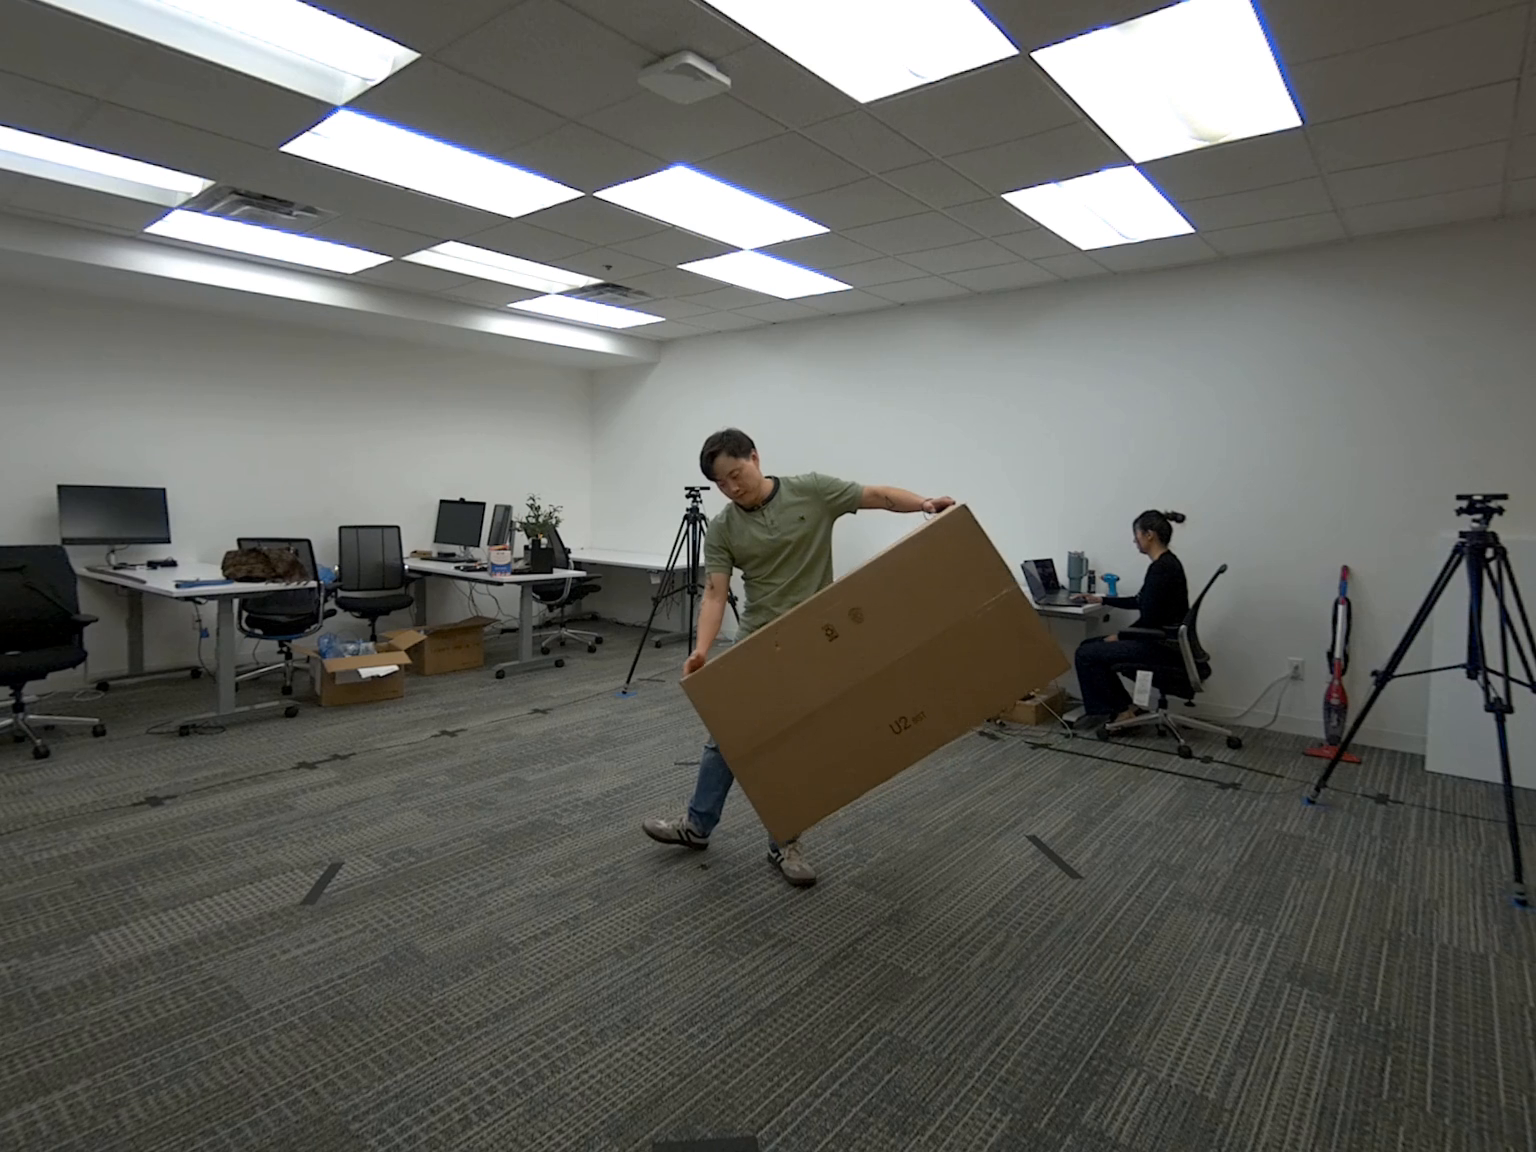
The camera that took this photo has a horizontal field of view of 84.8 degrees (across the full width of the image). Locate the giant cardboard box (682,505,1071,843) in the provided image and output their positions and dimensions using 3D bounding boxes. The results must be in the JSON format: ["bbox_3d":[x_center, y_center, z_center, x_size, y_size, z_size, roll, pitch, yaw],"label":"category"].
[{"bbox_3d":[0.309,0.296,2.741,1.027,0.582,0.422,-32,-5,3],"label":"giant cardboard box"}]
